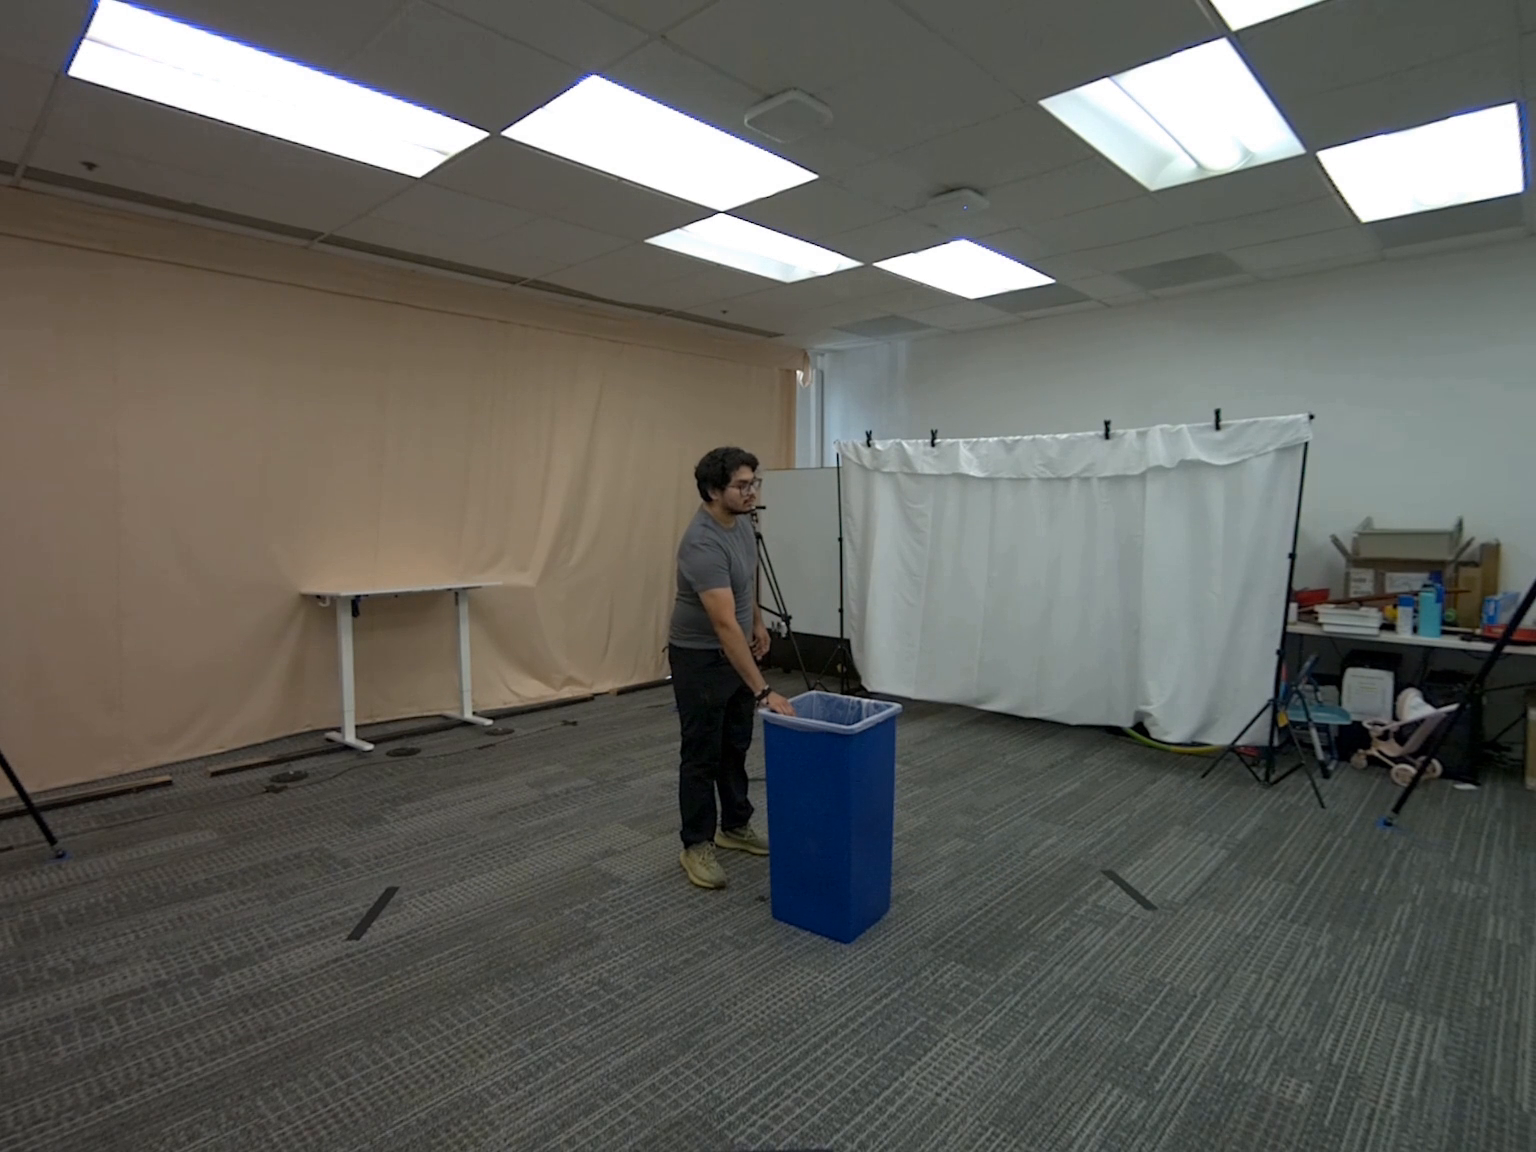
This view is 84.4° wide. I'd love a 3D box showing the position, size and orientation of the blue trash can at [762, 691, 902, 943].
[{"bbox_3d":[0.216,0.796,2.843,0.390,0.712,0.363,2,4,37],"label":"blue trash can"}]
